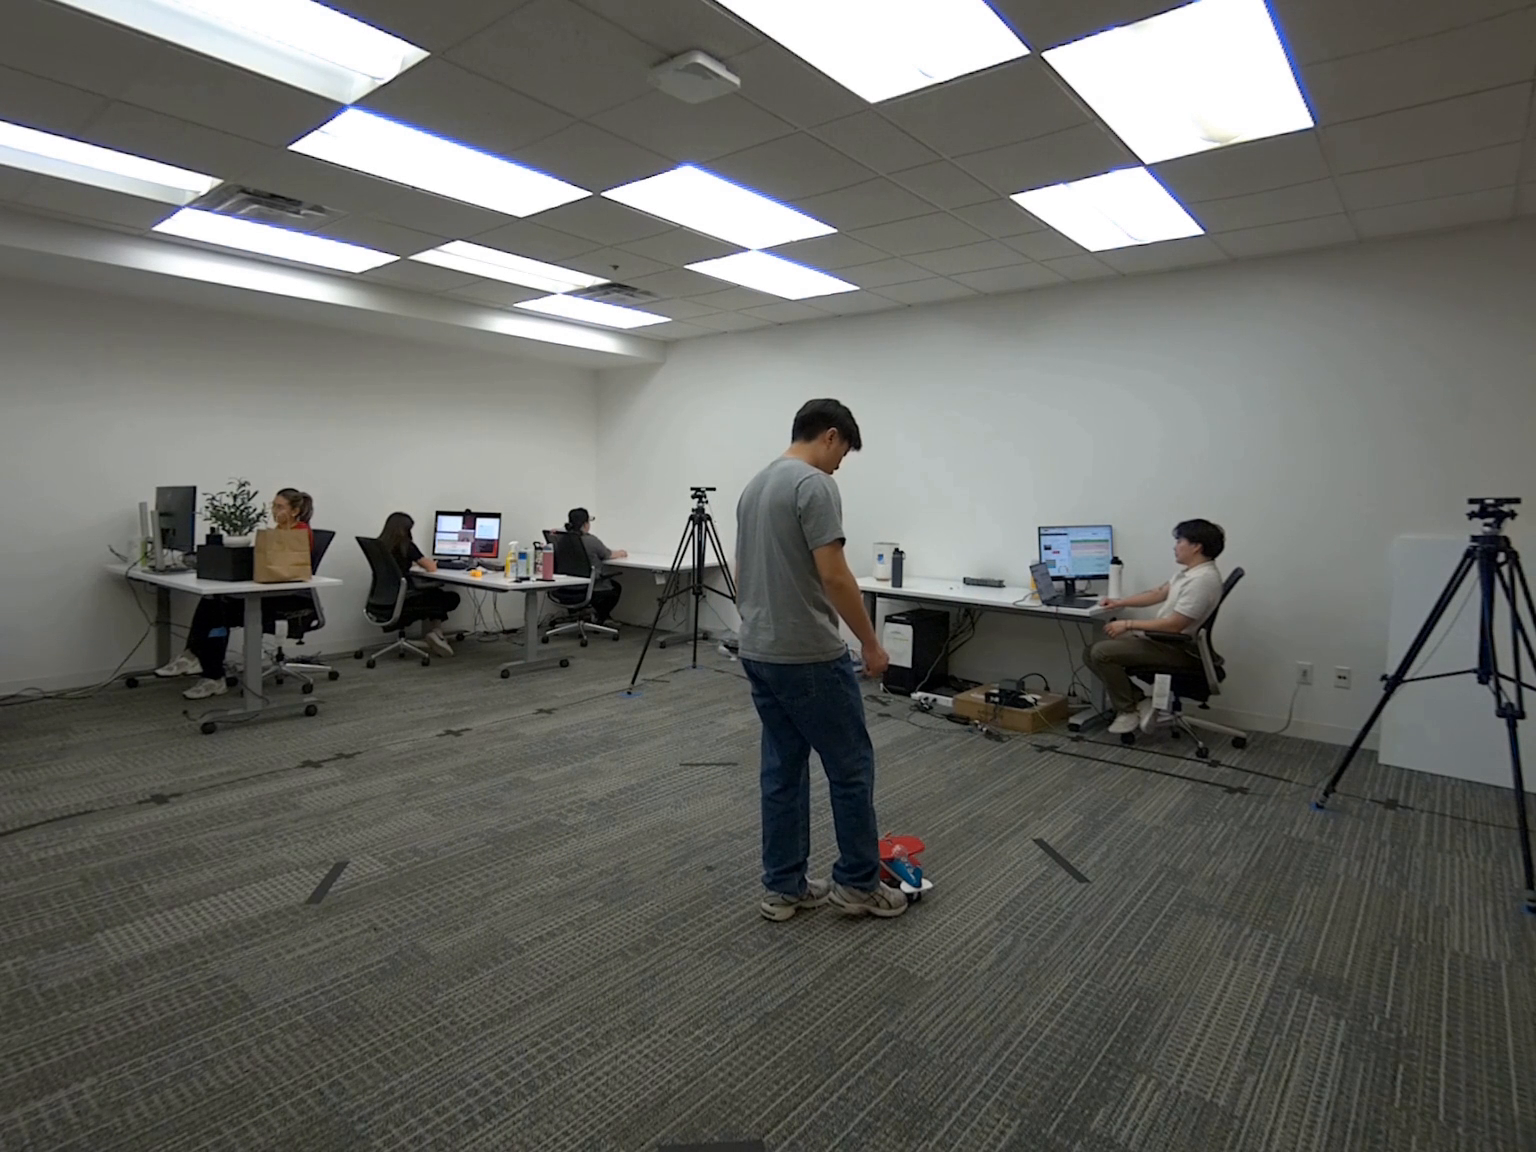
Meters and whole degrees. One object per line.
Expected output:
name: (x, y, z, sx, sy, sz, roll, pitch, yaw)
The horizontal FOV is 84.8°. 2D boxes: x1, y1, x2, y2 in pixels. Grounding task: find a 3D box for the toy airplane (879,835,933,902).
toy airplane: (0.465, 1.024, 2.986, 0.268, 0.156, 0.244, 5, 6, 36)
